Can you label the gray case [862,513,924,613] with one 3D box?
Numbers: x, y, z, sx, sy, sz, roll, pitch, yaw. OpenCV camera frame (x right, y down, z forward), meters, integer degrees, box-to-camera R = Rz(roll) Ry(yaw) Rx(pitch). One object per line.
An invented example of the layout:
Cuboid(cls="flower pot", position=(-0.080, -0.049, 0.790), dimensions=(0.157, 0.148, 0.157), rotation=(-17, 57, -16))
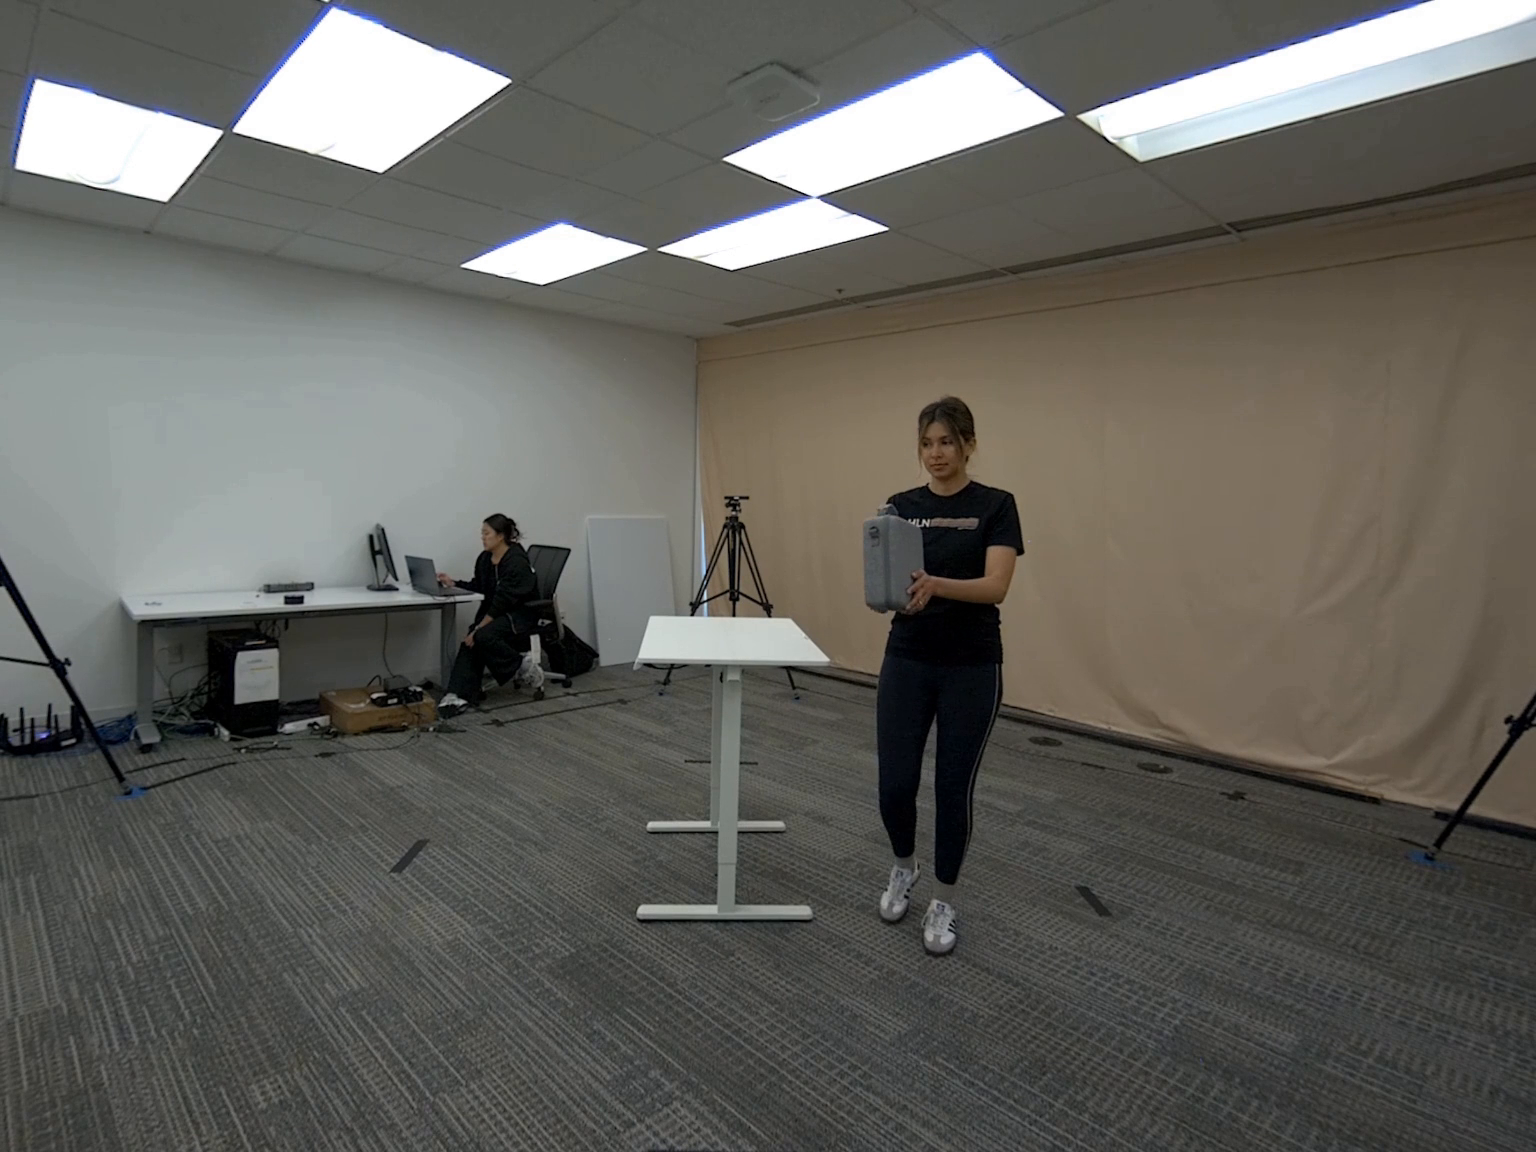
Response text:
Cuboid(cls="gray case", position=(0.340, -0.032, 2.338), dimensions=(0.106, 0.262, 0.251), rotation=(-5, -10, 26))
